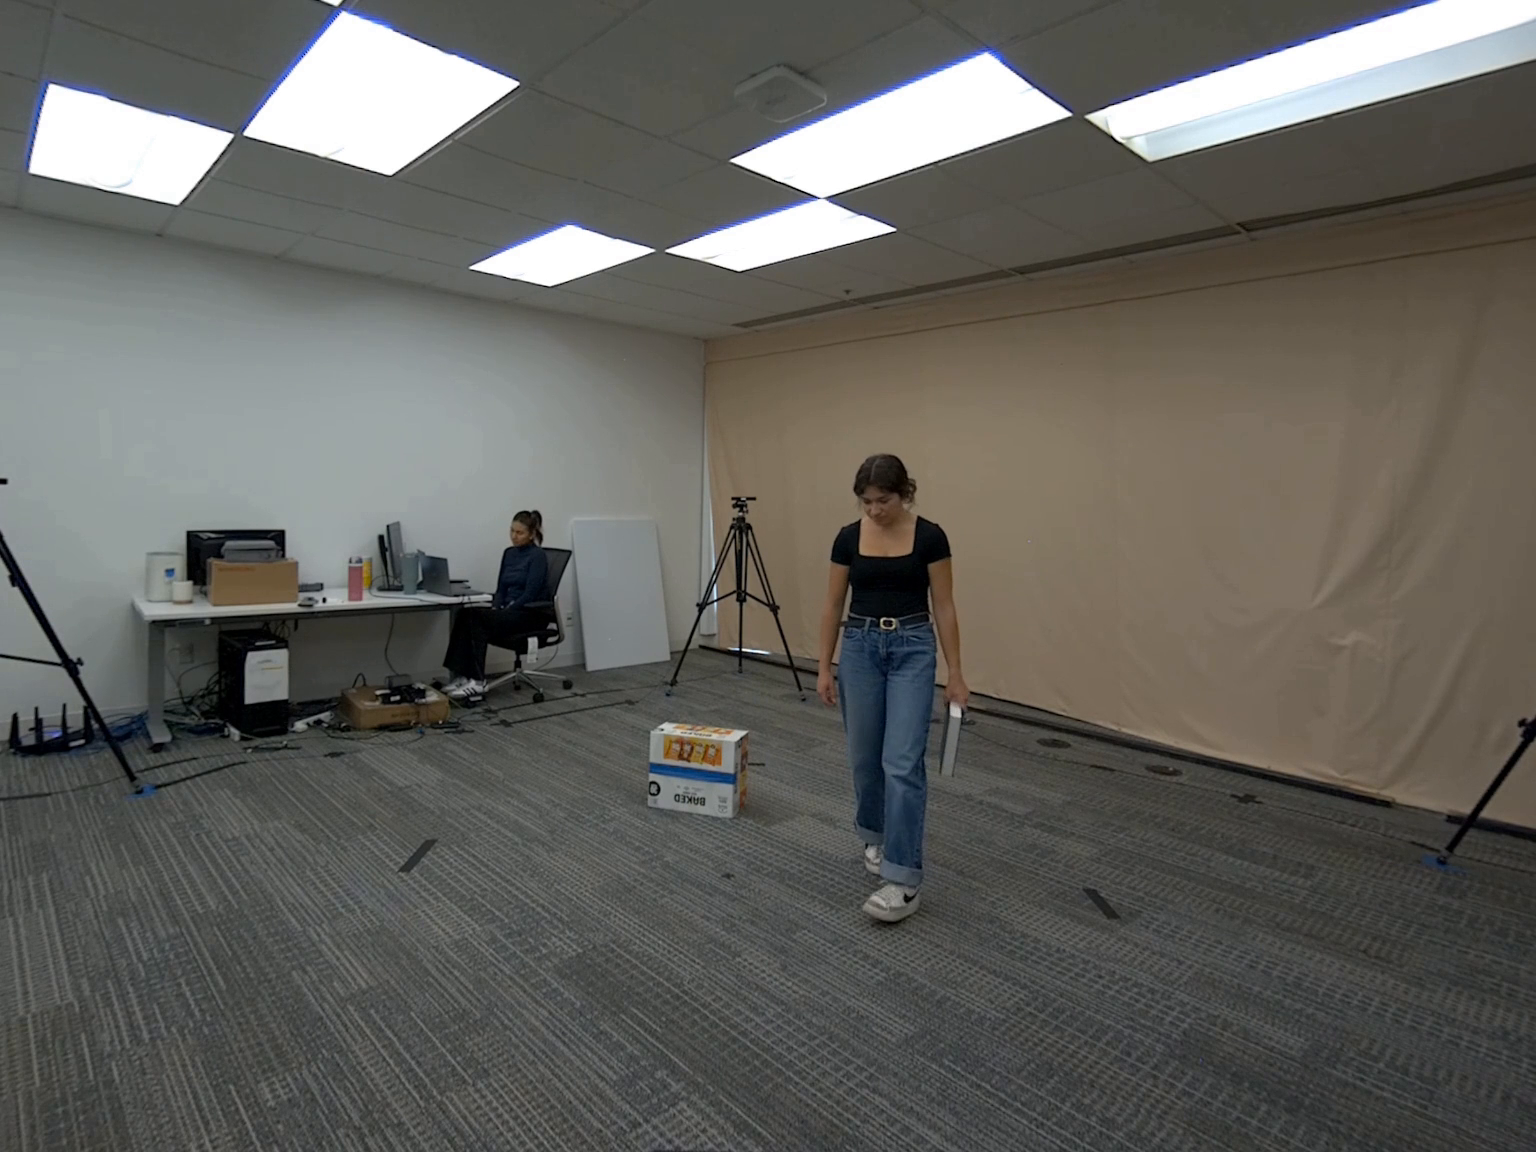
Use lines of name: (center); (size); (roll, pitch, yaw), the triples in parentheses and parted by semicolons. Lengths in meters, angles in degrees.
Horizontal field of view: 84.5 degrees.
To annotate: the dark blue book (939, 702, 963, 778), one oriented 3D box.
dark blue book: (0.635, 0.554, 2.959); (0.045, 0.242, 0.164); (7, 18, 8)
